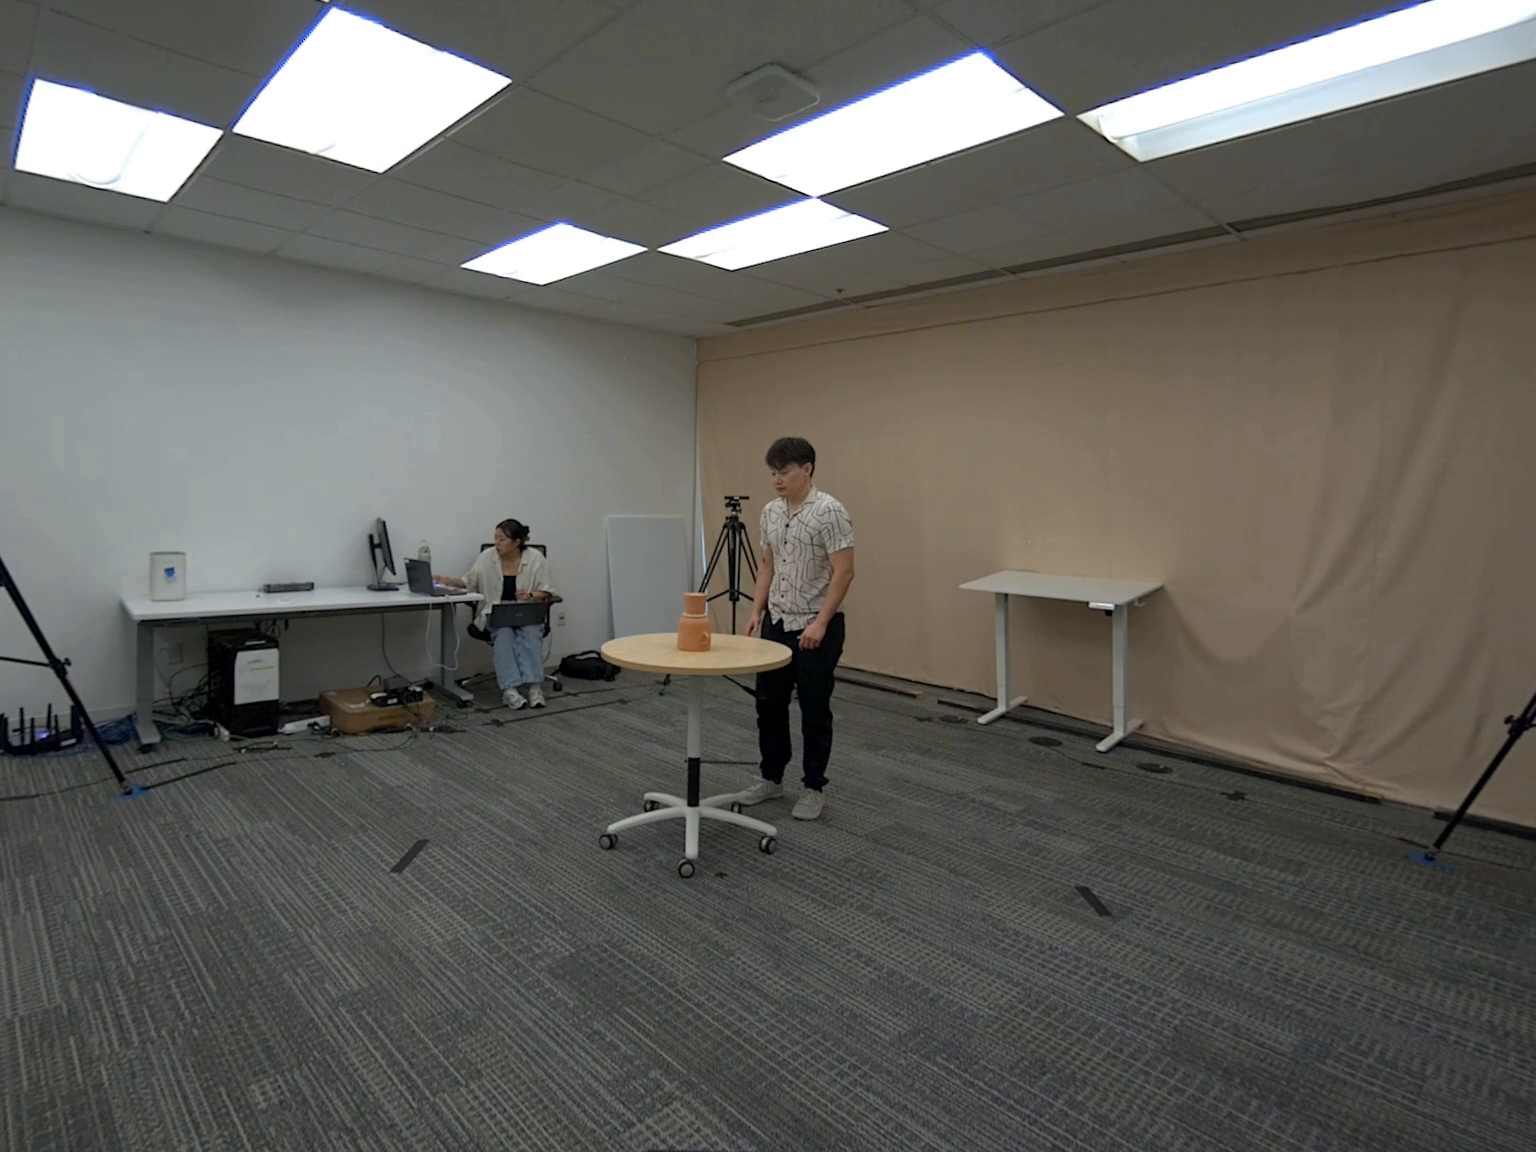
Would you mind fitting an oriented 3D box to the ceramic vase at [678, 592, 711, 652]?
[{"bbox_3d":[-0.295,0.181,3.373,0.160,0.219,0.134,3,5,9],"label":"ceramic vase"}]
